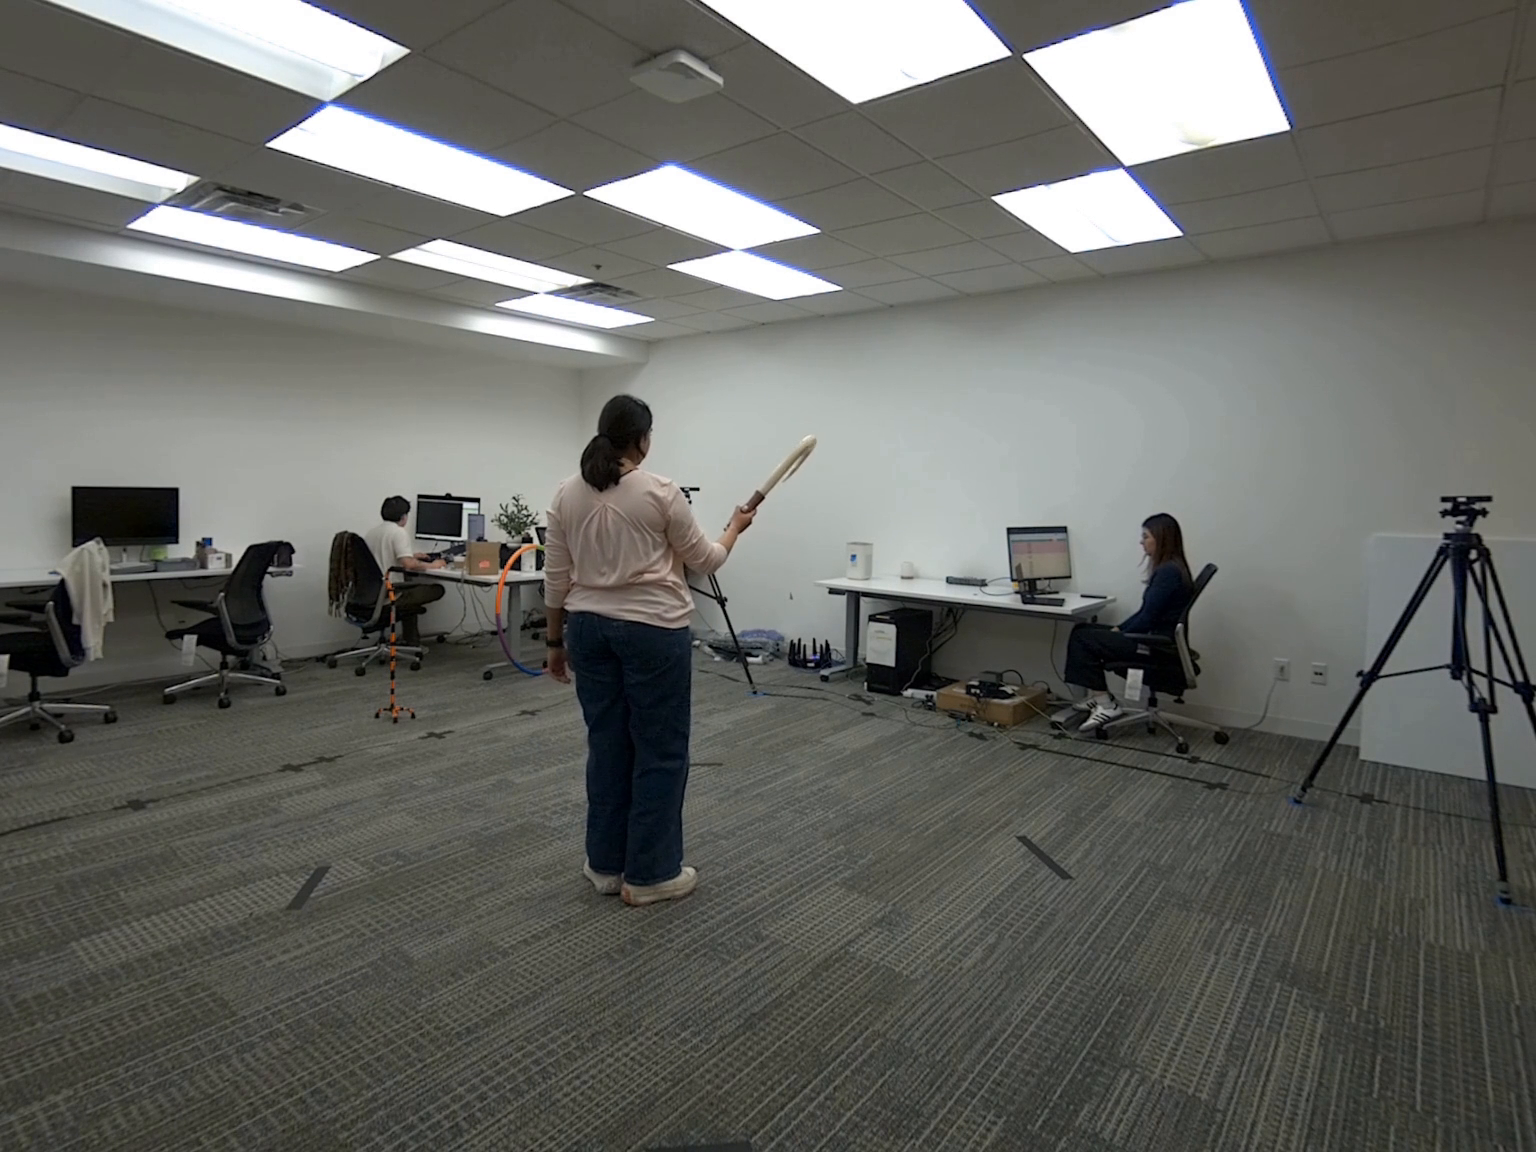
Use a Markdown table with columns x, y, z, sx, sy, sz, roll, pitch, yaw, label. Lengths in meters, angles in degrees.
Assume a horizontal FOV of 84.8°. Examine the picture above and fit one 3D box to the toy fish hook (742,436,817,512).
| x | y | z | sx | sy | sz | roll | pitch | yaw | label |
| --- | --- | --- | --- | --- | --- | --- | --- | --- | --- |
| 0.001 | -0.341 | 3.267 | 0.049 | 0.506 | 0.220 | 42 | -5 | 13 | toy fish hook |
